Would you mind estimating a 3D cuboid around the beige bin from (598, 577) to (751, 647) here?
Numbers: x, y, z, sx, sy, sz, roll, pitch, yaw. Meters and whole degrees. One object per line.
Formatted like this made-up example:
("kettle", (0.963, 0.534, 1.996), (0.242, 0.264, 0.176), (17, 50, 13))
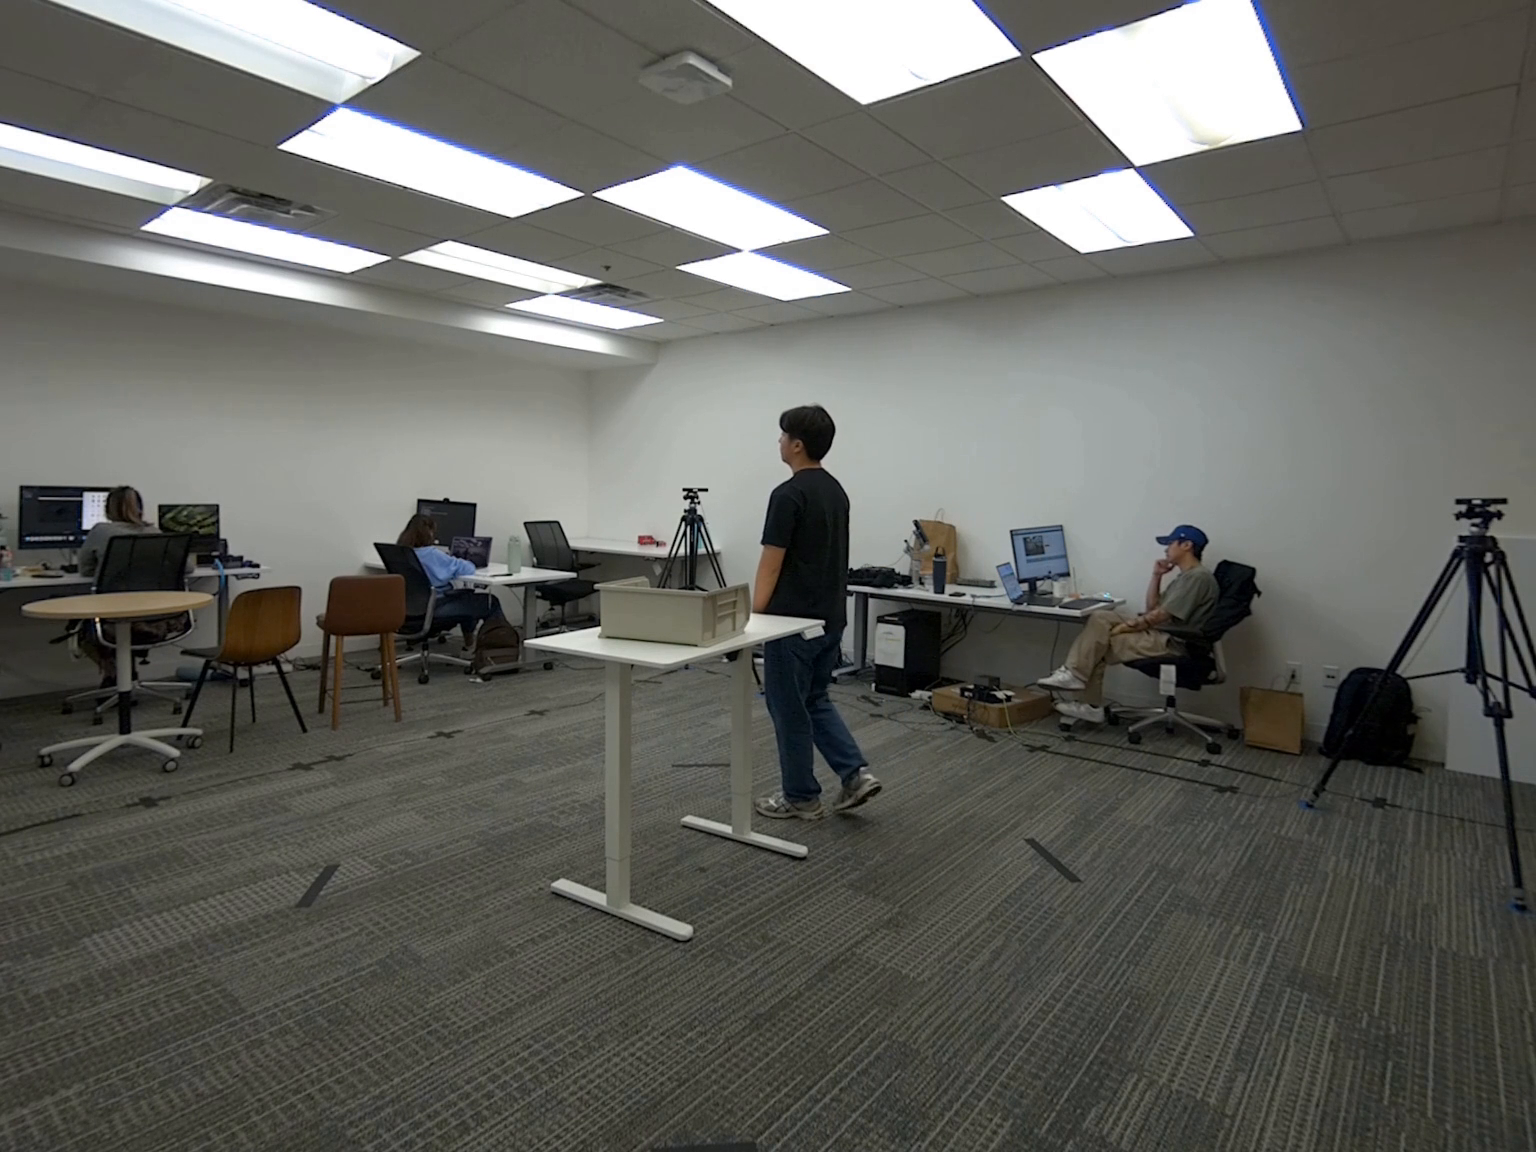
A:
("beige bin", (-0.331, 0.115, 2.941), (0.433, 0.188, 0.370), (3, 7, 23))
